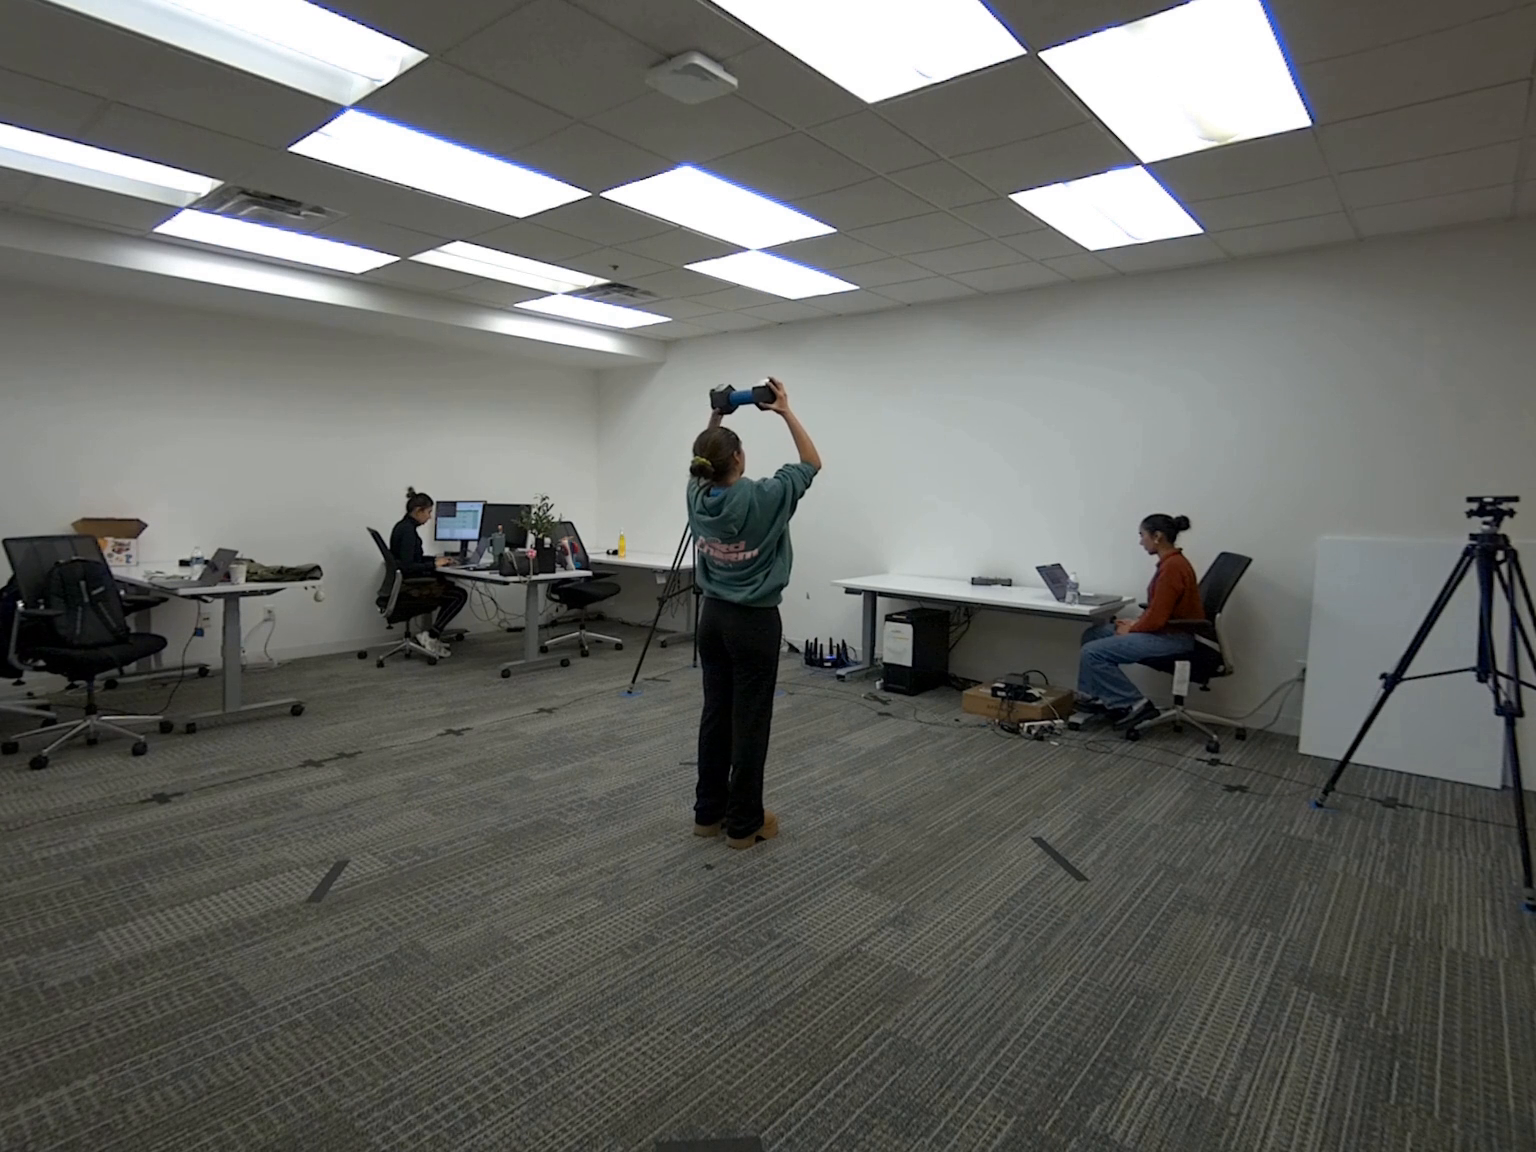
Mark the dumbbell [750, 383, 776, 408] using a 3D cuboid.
[{"bbox_3d":[-0.106,-0.715,3.380,0.303,0.122,0.106,3,6,38],"label":"dumbbell"}]
